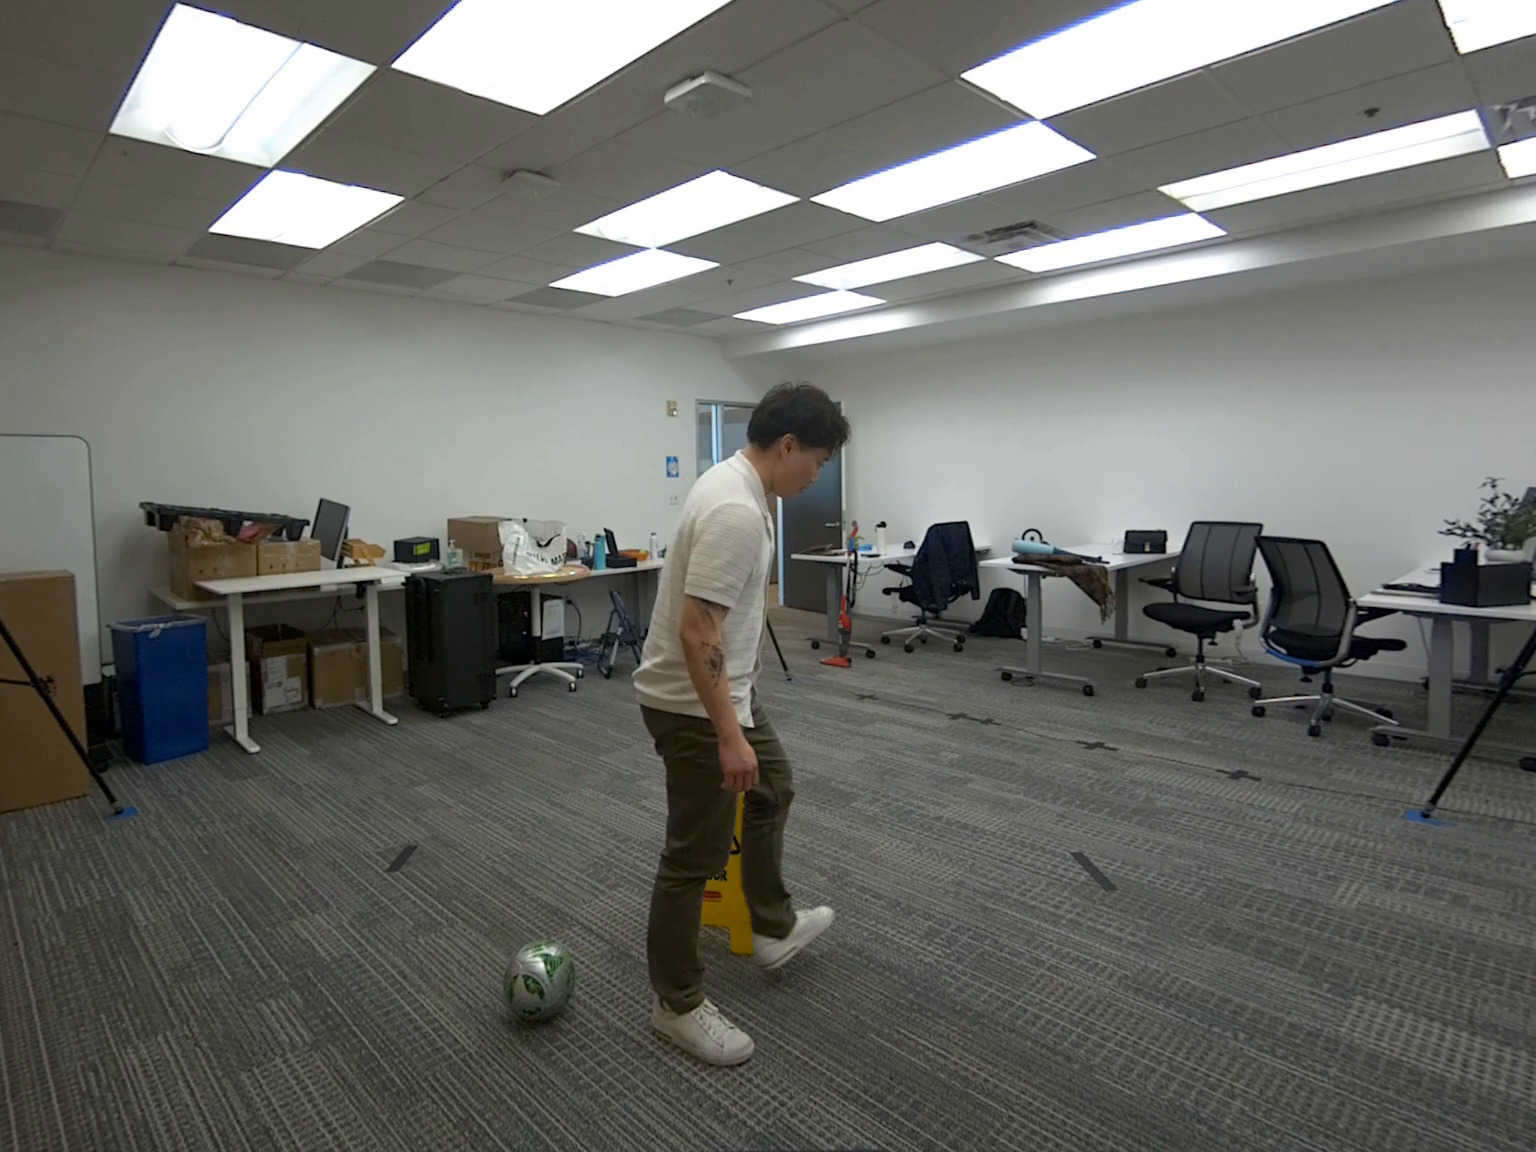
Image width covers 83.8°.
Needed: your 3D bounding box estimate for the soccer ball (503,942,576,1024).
[{"bbox_3d":[-0.588,1.071,2.252,0.187,0.187,0.188,-1,5,-2],"label":"soccer ball"}]
